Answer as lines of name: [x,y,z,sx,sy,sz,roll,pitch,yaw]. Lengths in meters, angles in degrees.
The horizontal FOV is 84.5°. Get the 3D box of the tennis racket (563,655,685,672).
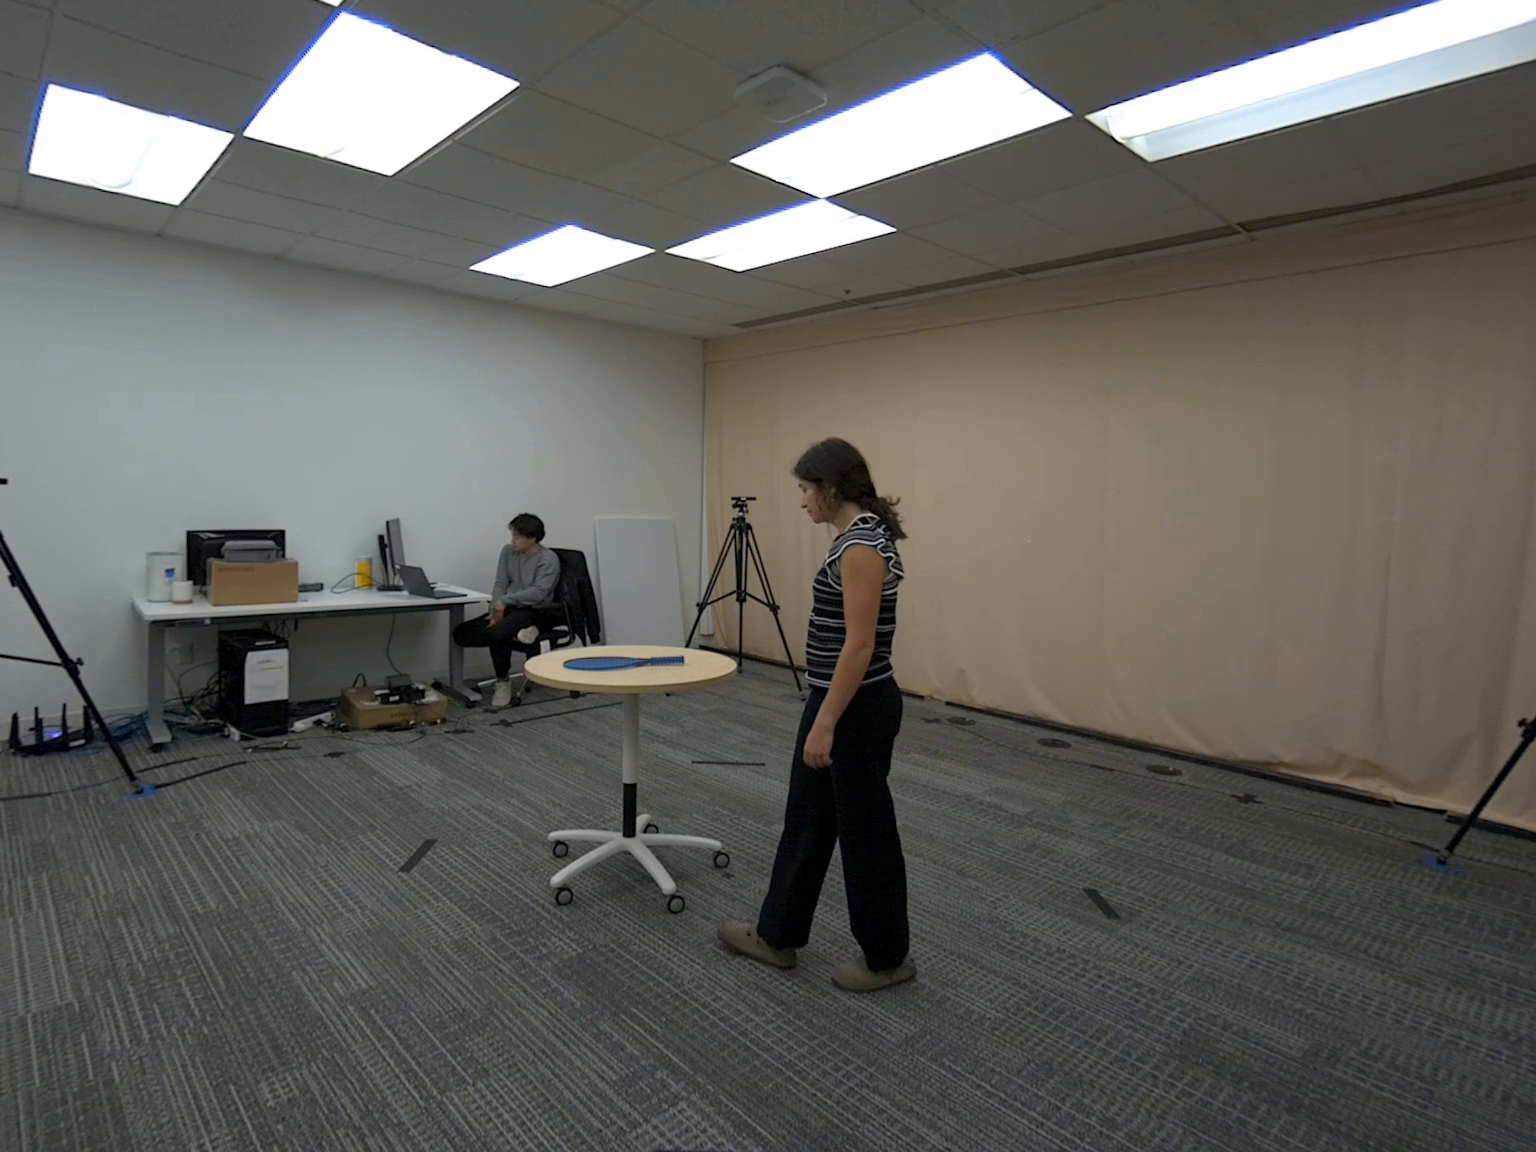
tennis racket: [-0.533,0.316,3.021,0.430,0.031,0.216,-1,5,-9]
